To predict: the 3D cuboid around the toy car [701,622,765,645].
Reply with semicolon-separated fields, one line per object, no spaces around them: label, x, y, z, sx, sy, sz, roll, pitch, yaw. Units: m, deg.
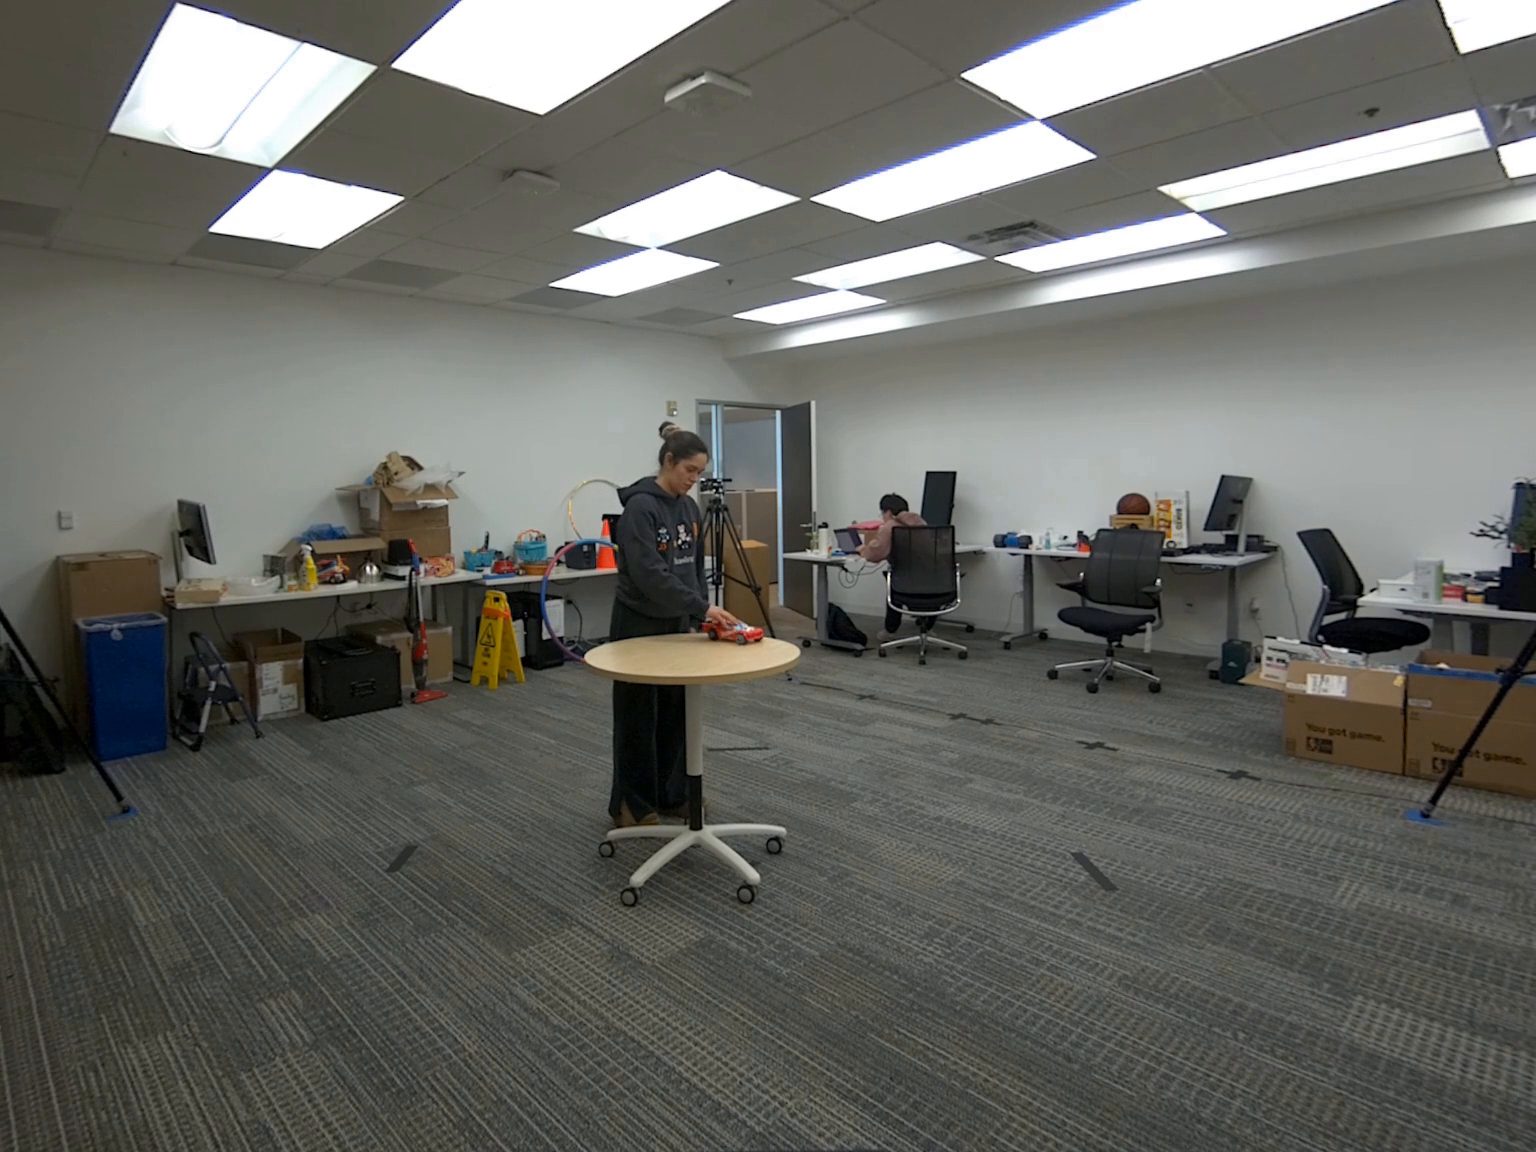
toy car;-0.132;0.217;3.254;0.264;0.082;0.127;18;16;41
